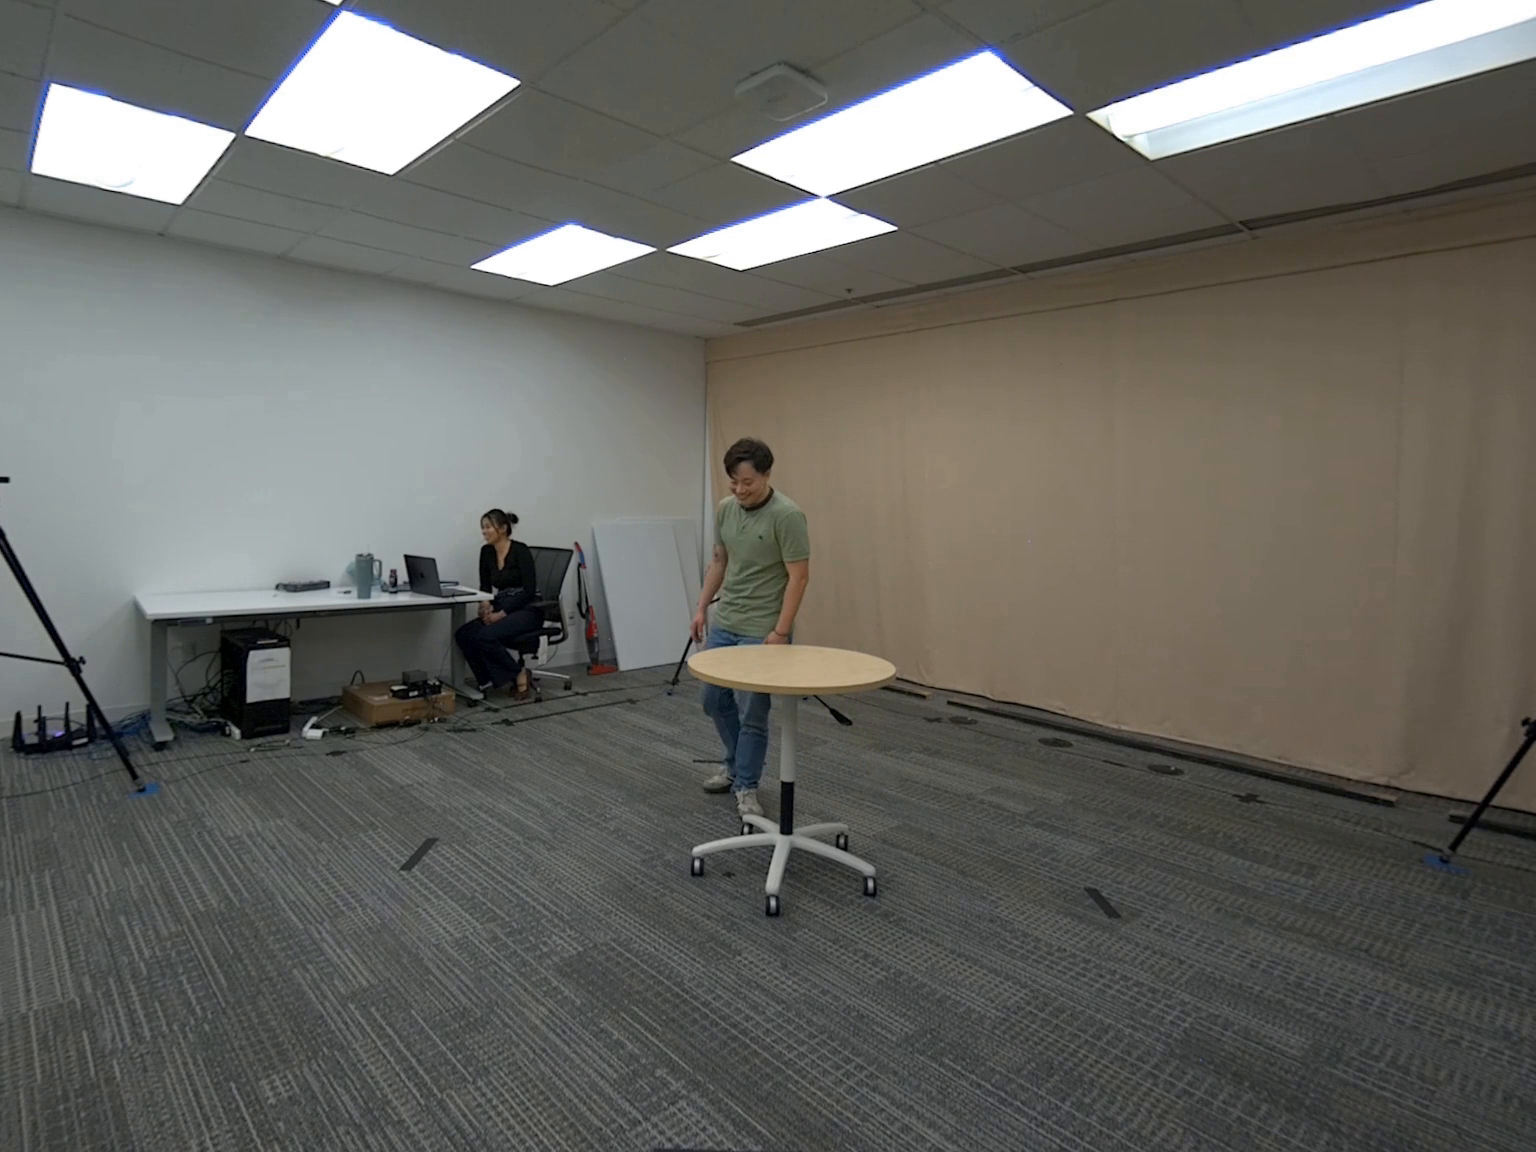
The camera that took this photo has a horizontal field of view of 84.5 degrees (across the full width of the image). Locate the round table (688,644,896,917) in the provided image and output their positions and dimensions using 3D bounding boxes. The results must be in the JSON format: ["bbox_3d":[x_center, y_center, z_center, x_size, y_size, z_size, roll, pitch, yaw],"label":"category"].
[{"bbox_3d":[0.068,0.716,3.135,0.763,0.792,0.767,1,4,-1],"label":"round table"}]
